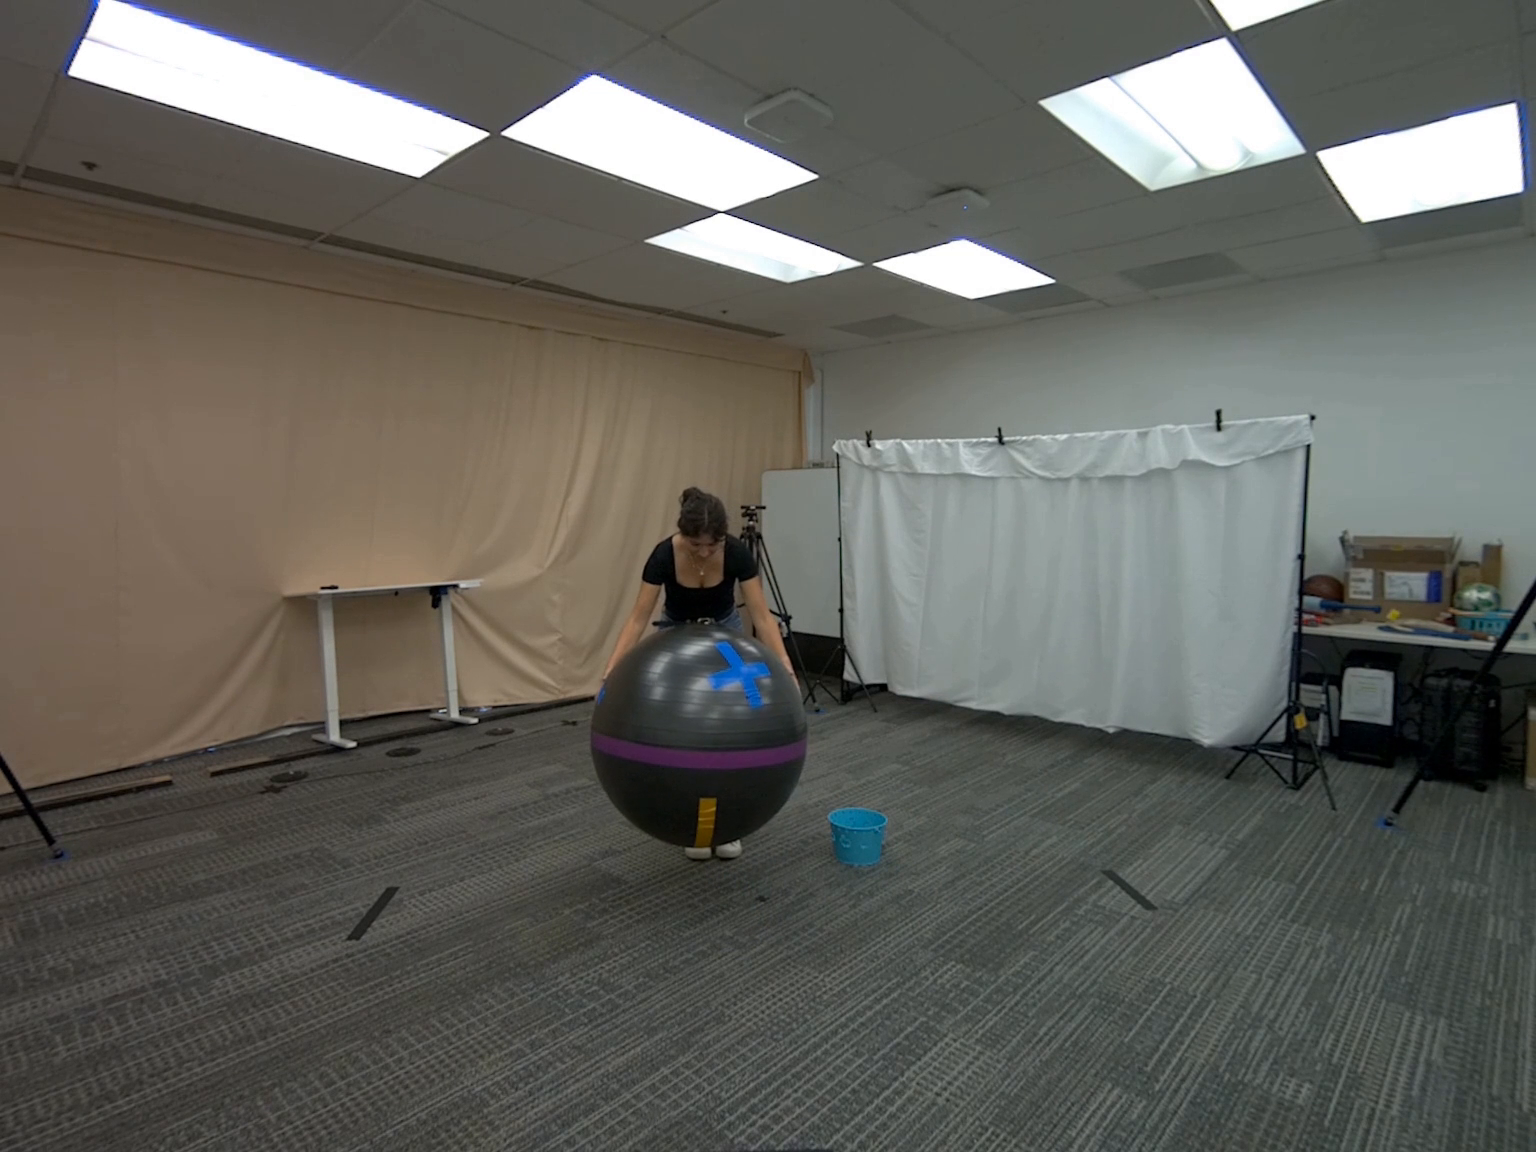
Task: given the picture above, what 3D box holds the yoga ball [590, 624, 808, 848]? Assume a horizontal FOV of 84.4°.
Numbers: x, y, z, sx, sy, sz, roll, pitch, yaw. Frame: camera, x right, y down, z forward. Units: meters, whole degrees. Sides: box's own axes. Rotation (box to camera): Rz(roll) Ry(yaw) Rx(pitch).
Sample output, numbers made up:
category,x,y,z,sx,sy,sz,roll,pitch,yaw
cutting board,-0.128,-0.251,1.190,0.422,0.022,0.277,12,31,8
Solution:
category,x,y,z,sx,sy,sz,roll,pitch,yaw
yoga ball,-0.246,0.553,2.928,0.757,0.756,0.760,0,4,-2
